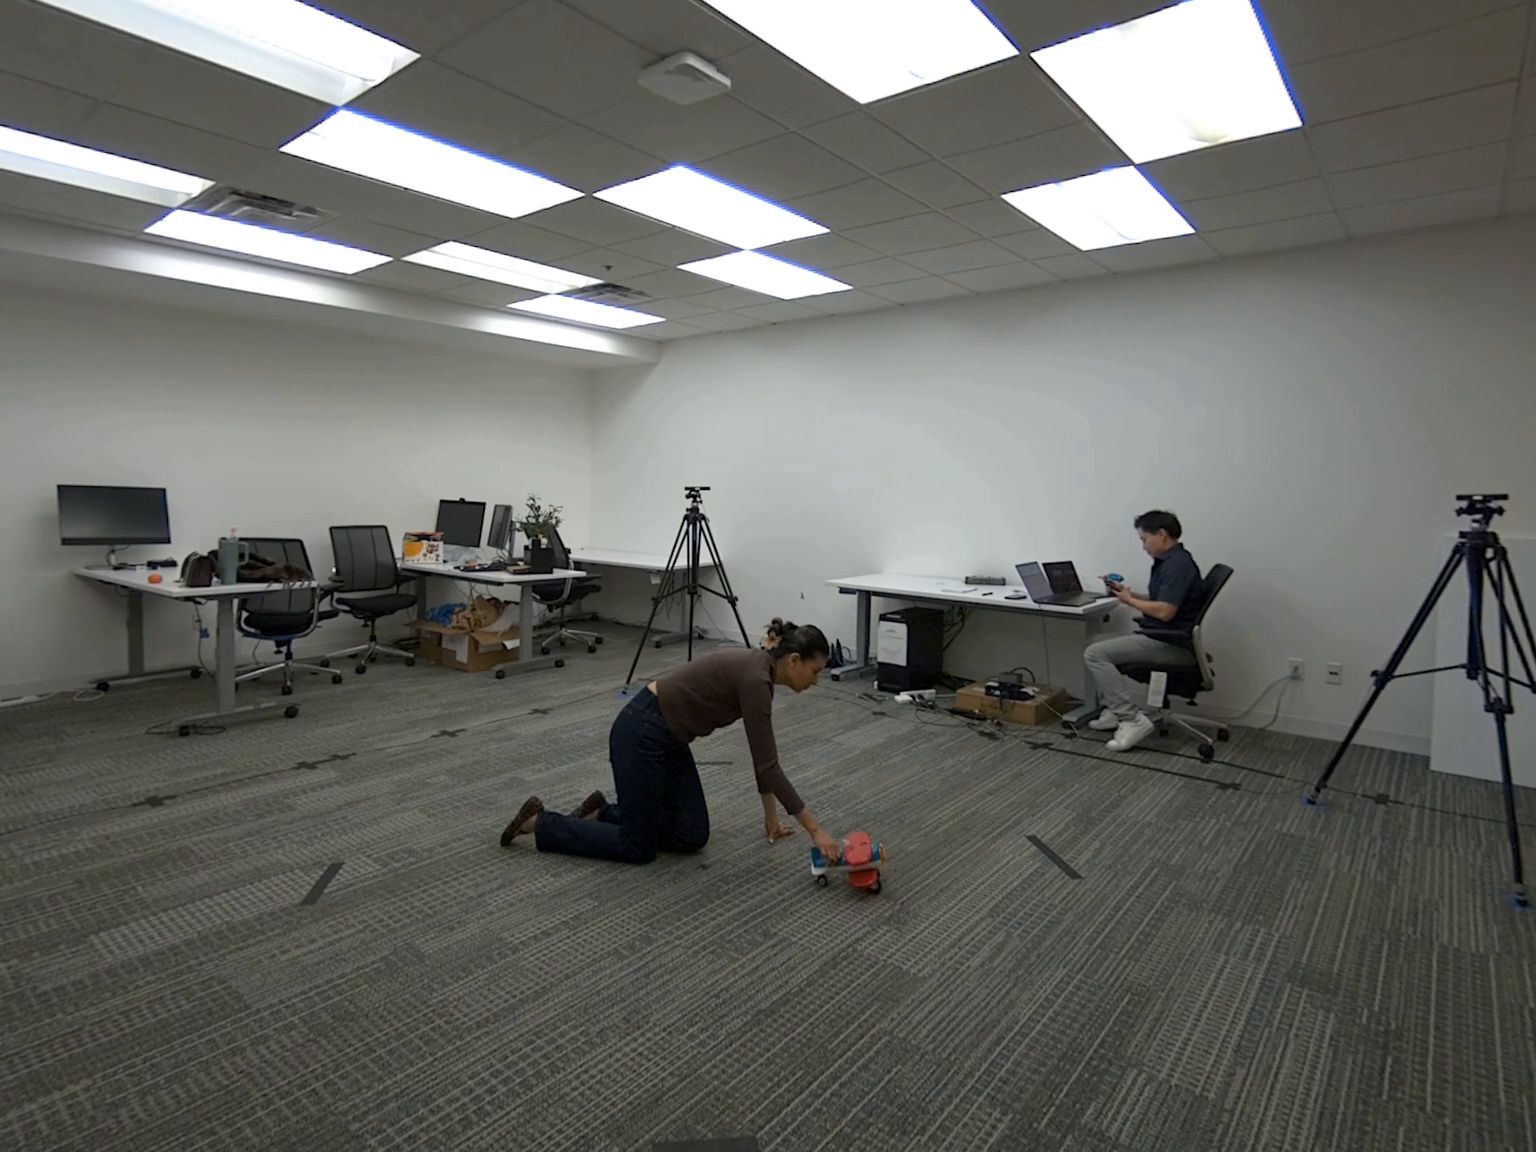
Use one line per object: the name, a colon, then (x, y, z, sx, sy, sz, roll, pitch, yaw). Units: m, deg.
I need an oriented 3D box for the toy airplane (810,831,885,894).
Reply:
toy airplane: (0.284, 1.015, 2.970, 0.253, 0.156, 0.258, 0, 5, -24)
